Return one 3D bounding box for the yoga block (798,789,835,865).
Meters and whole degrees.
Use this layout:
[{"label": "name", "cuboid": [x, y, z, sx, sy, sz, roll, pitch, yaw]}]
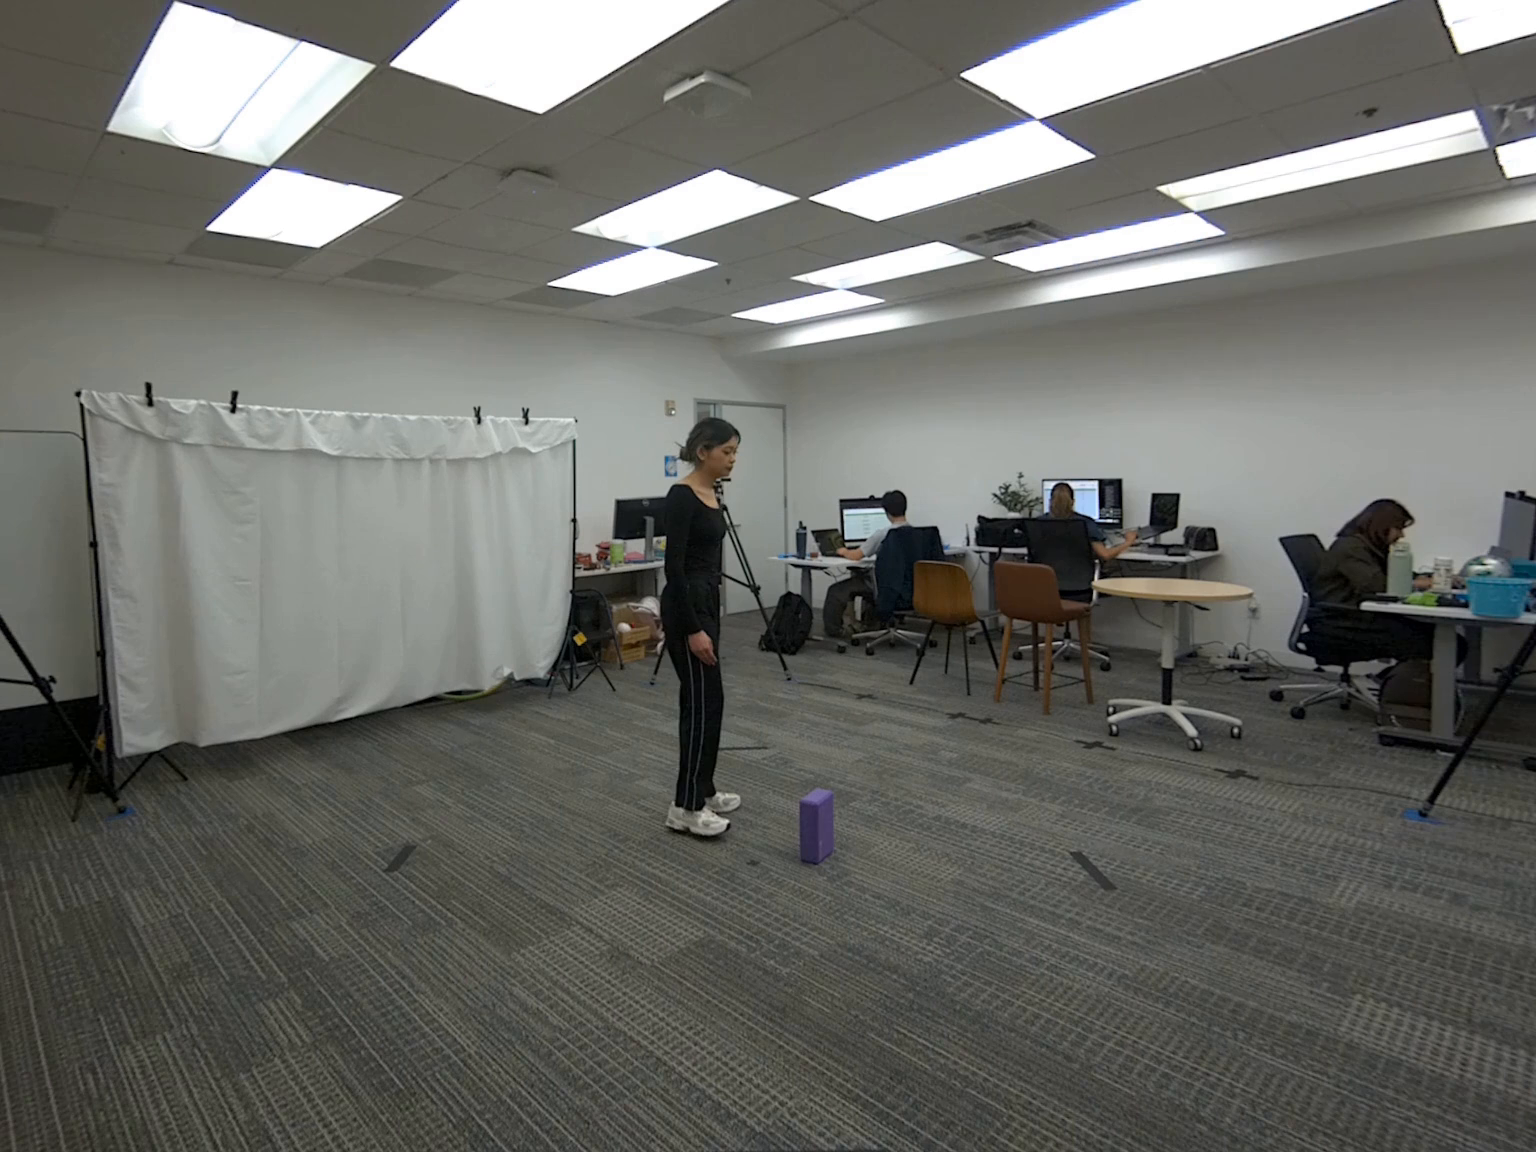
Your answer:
[{"label": "yoga block", "cuboid": [0.184, 0.918, 3.147, 0.078, 0.229, 0.146, 2, 4, 28]}]
